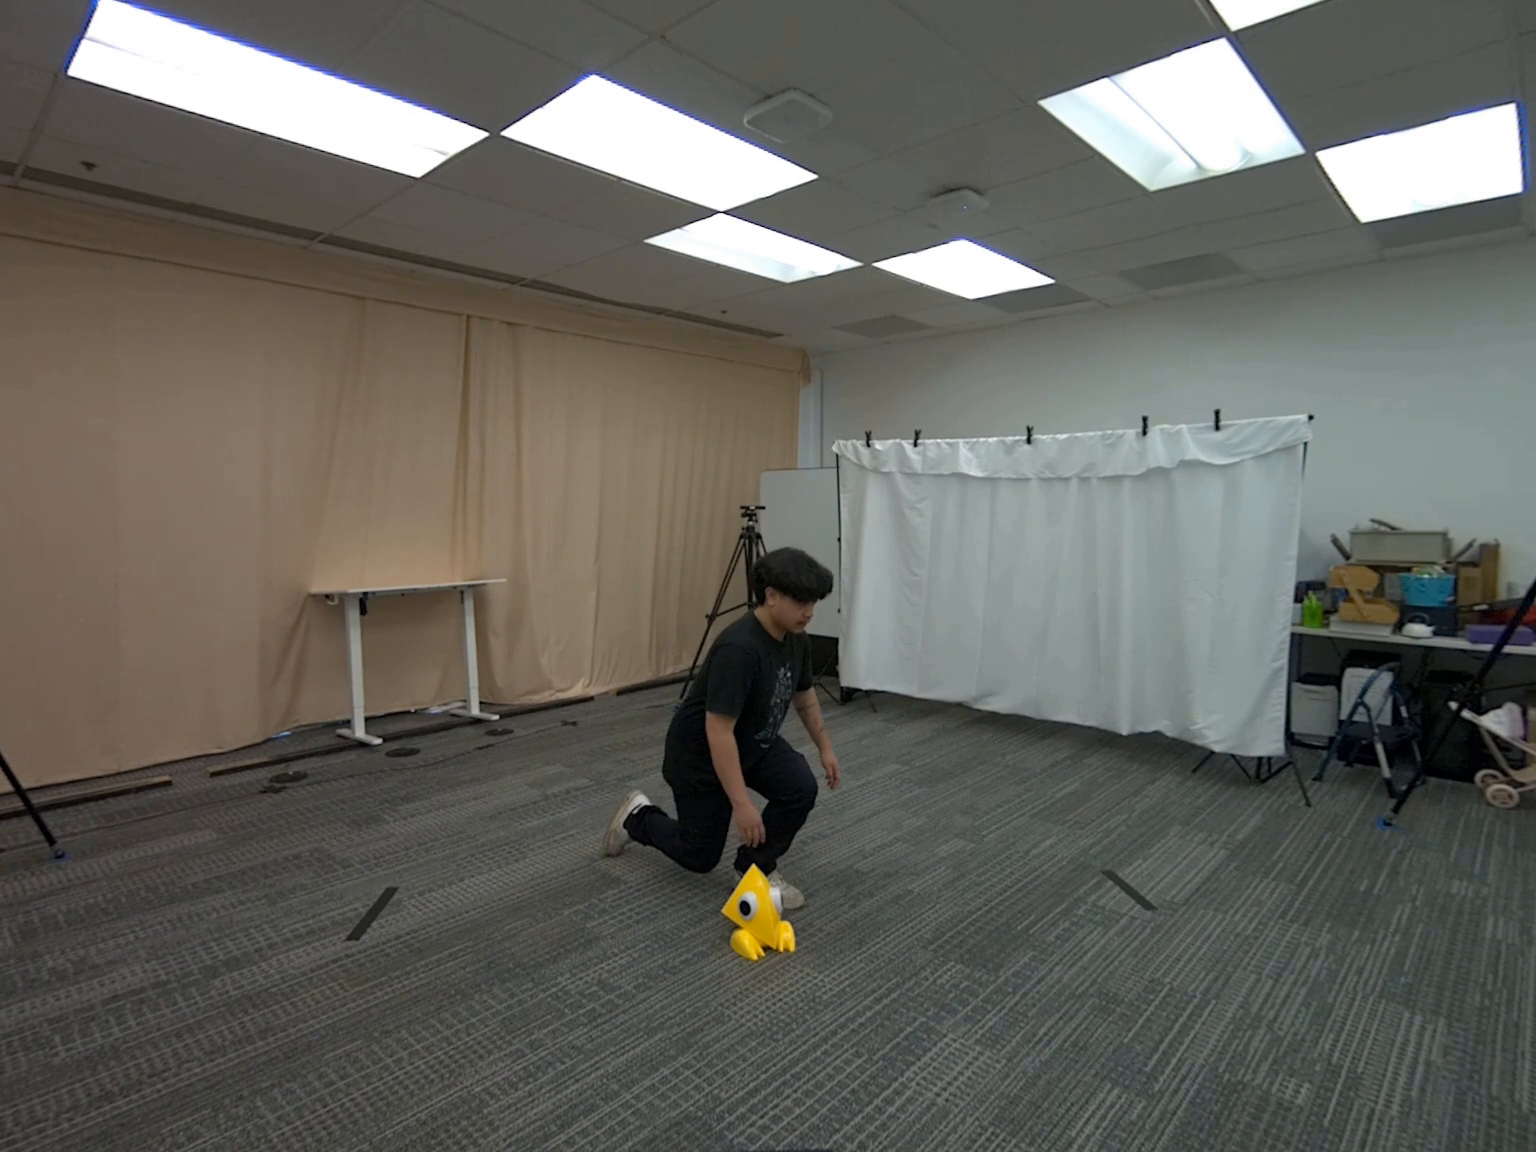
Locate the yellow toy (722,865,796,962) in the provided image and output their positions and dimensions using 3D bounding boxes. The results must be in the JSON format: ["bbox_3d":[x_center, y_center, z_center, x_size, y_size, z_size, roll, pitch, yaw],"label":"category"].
[{"bbox_3d":[-0.018,1.051,2.689,0.200,0.230,0.198,-1,4,-24],"label":"yellow toy"}]
